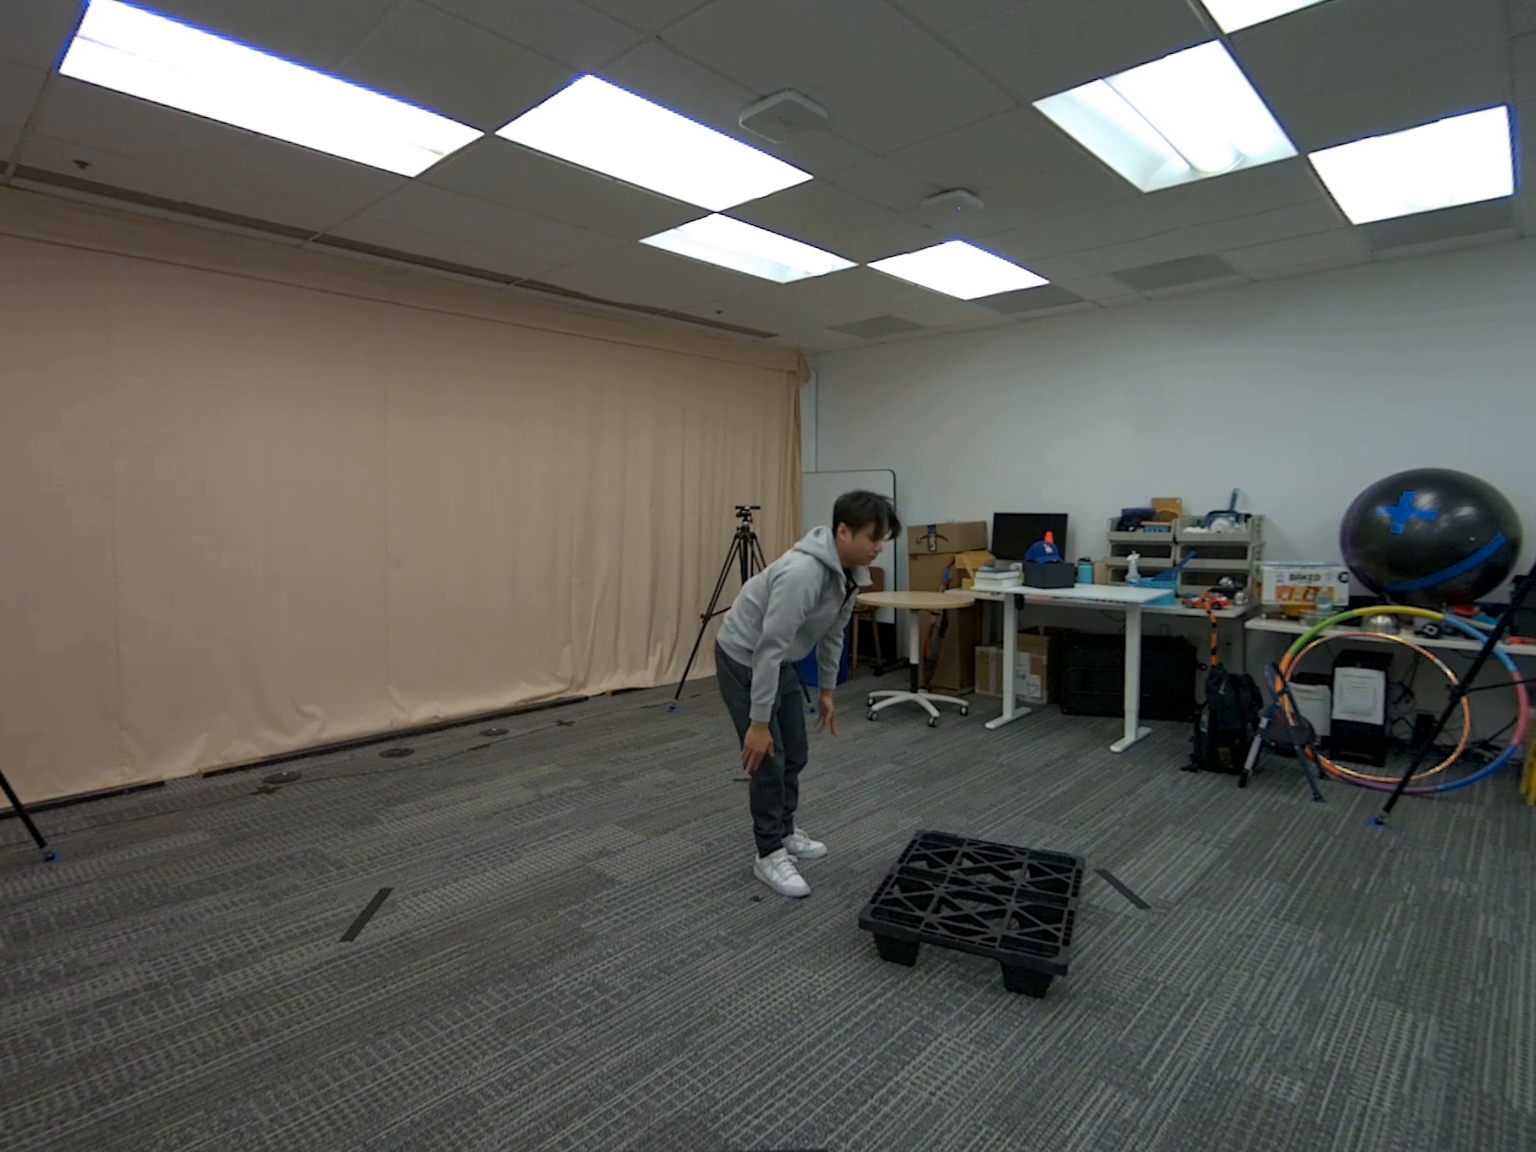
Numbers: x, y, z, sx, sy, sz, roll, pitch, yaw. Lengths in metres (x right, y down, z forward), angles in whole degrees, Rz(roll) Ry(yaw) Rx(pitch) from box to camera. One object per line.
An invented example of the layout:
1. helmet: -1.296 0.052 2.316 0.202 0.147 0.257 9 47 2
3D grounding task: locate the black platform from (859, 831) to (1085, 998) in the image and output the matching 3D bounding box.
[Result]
1. black platform: 0.712 1.090 2.797 0.621 0.143 0.787 3 6 25
